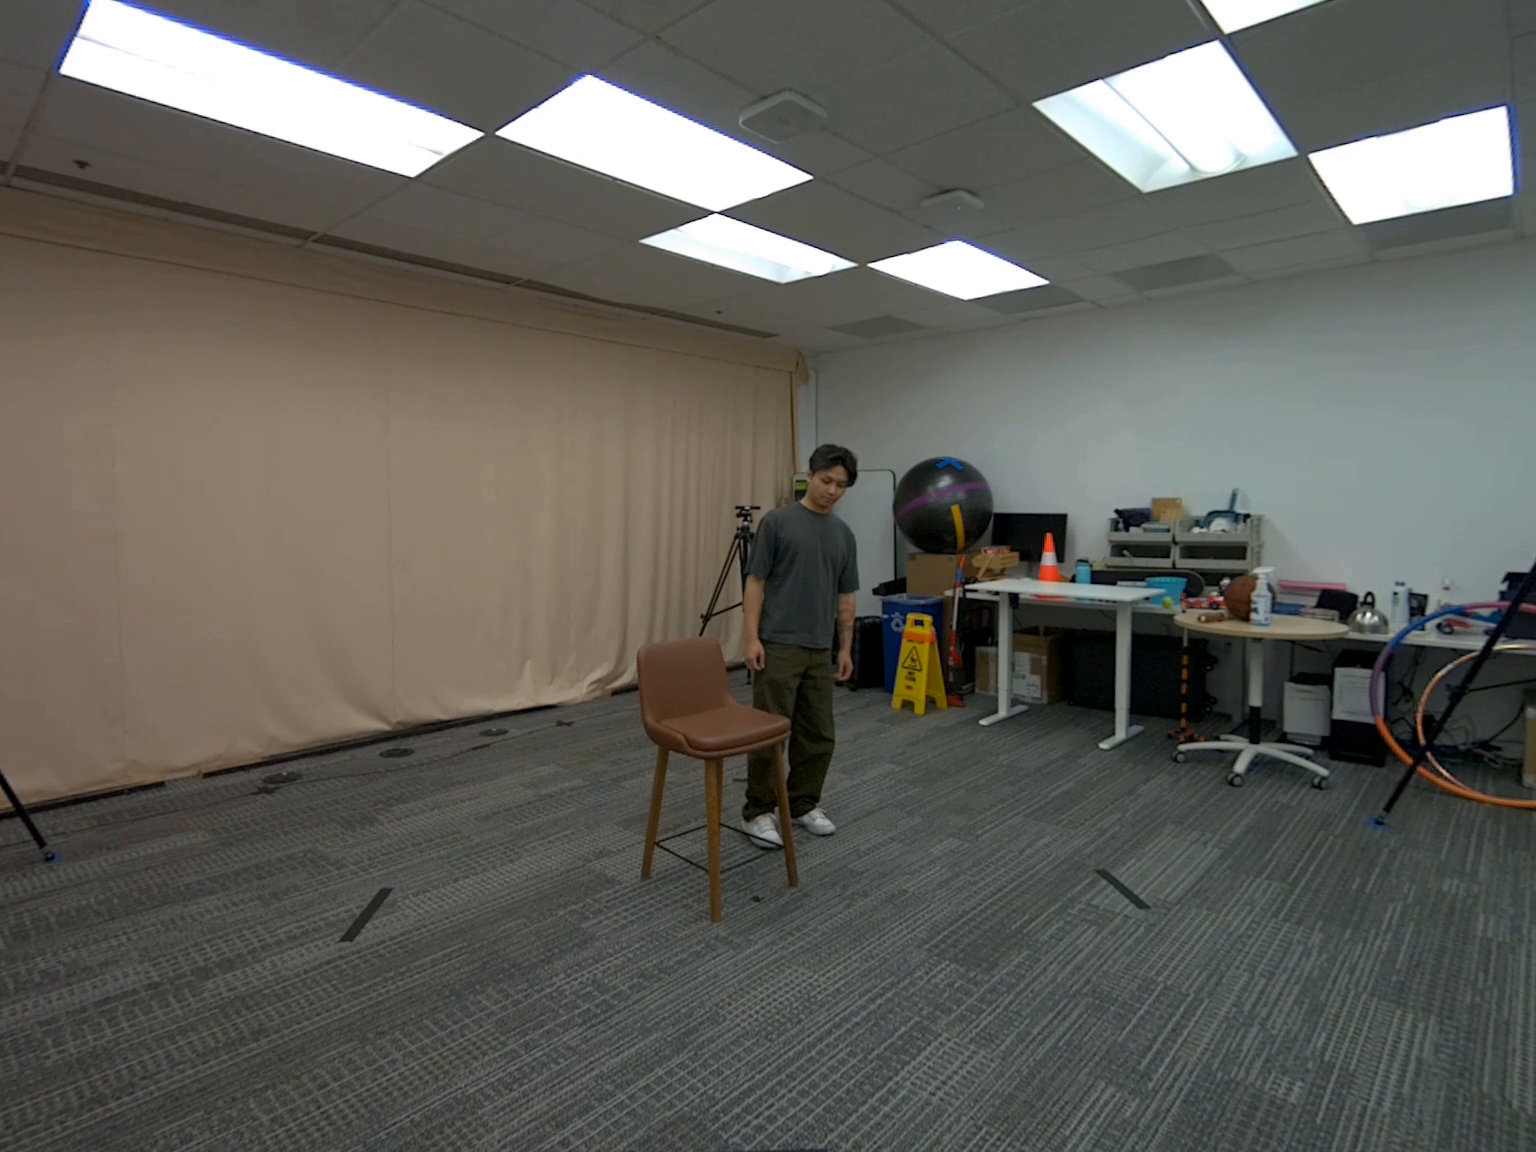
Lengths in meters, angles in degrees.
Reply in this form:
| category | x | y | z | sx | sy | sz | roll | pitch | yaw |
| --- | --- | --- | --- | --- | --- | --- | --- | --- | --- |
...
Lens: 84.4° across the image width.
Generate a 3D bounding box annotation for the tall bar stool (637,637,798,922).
| category | x | y | z | sx | sy | sz | roll | pitch | yaw |
| --- | --- | --- | --- | --- | --- | --- | --- | --- | --- |
| tall bar stool | -0.197 | 0.702 | 3.096 | 0.442 | 0.889 | 0.483 | -3 | 2 | -42 |
